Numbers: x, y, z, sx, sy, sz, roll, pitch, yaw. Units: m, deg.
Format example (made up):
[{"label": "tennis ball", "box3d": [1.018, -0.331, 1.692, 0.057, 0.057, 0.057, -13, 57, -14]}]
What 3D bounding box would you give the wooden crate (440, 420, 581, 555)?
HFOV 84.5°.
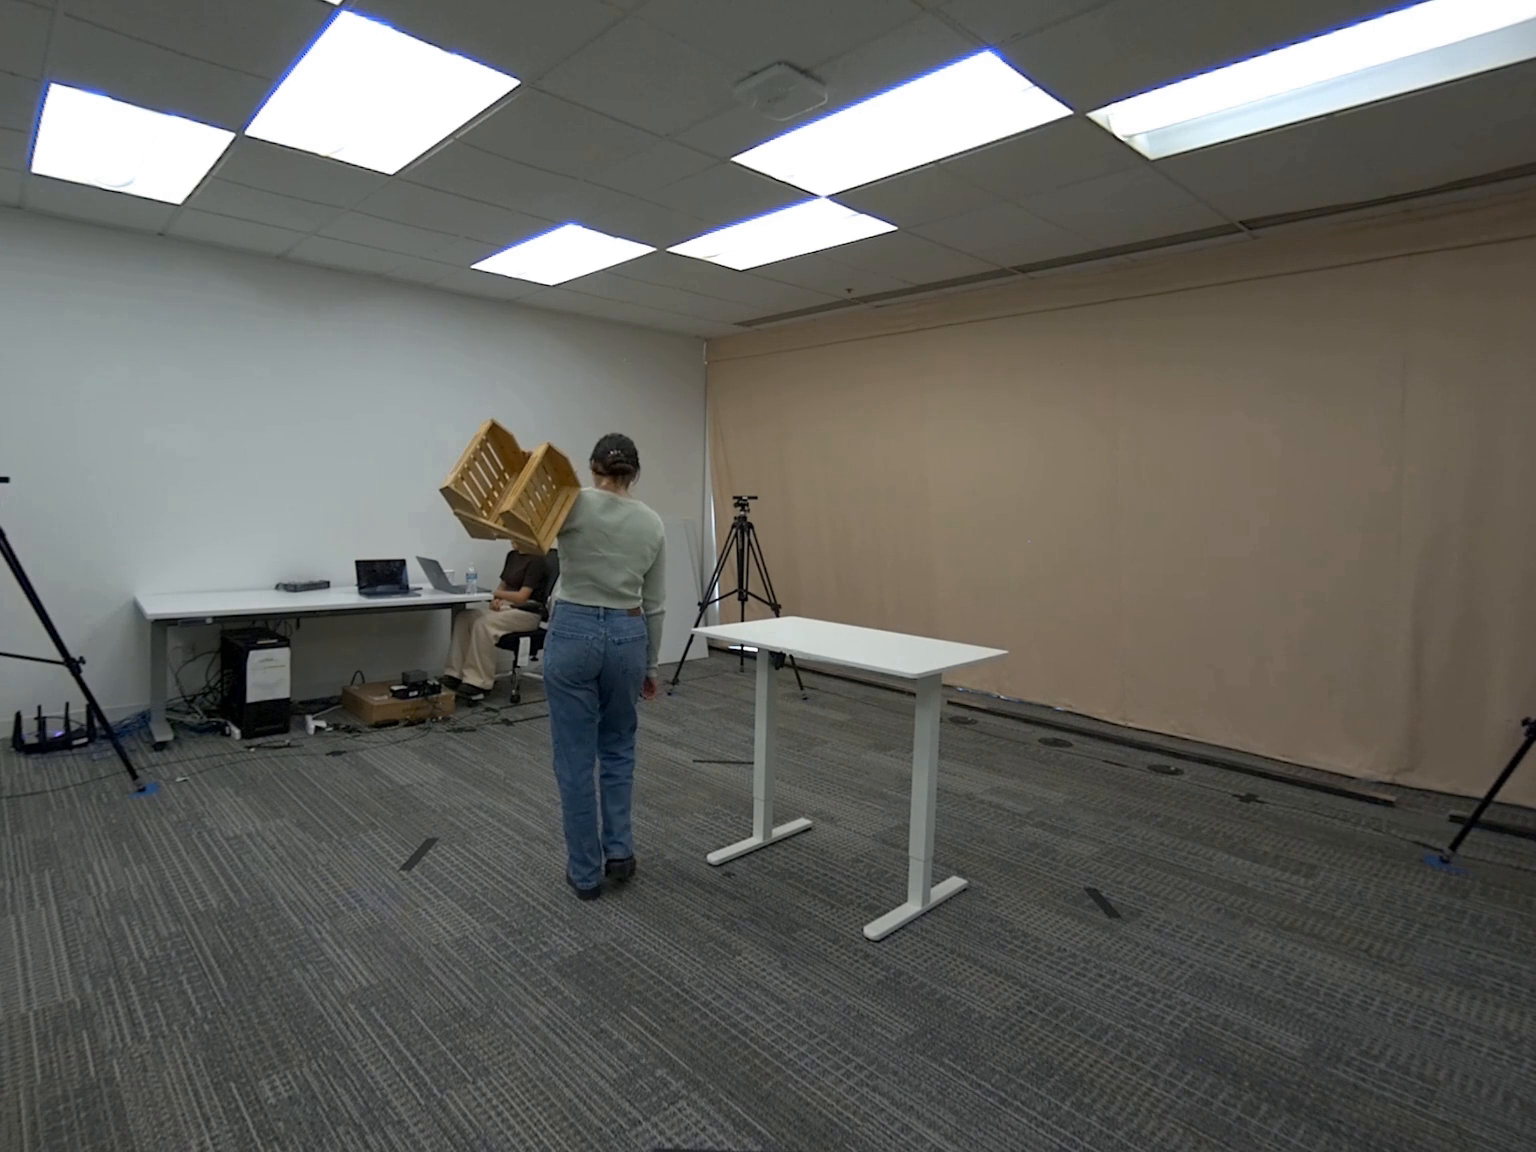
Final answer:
[{"label": "wooden crate", "box3d": [-0.823, -0.288, 2.692, 0.278, 0.328, 0.294, 6, -36, 18]}]
